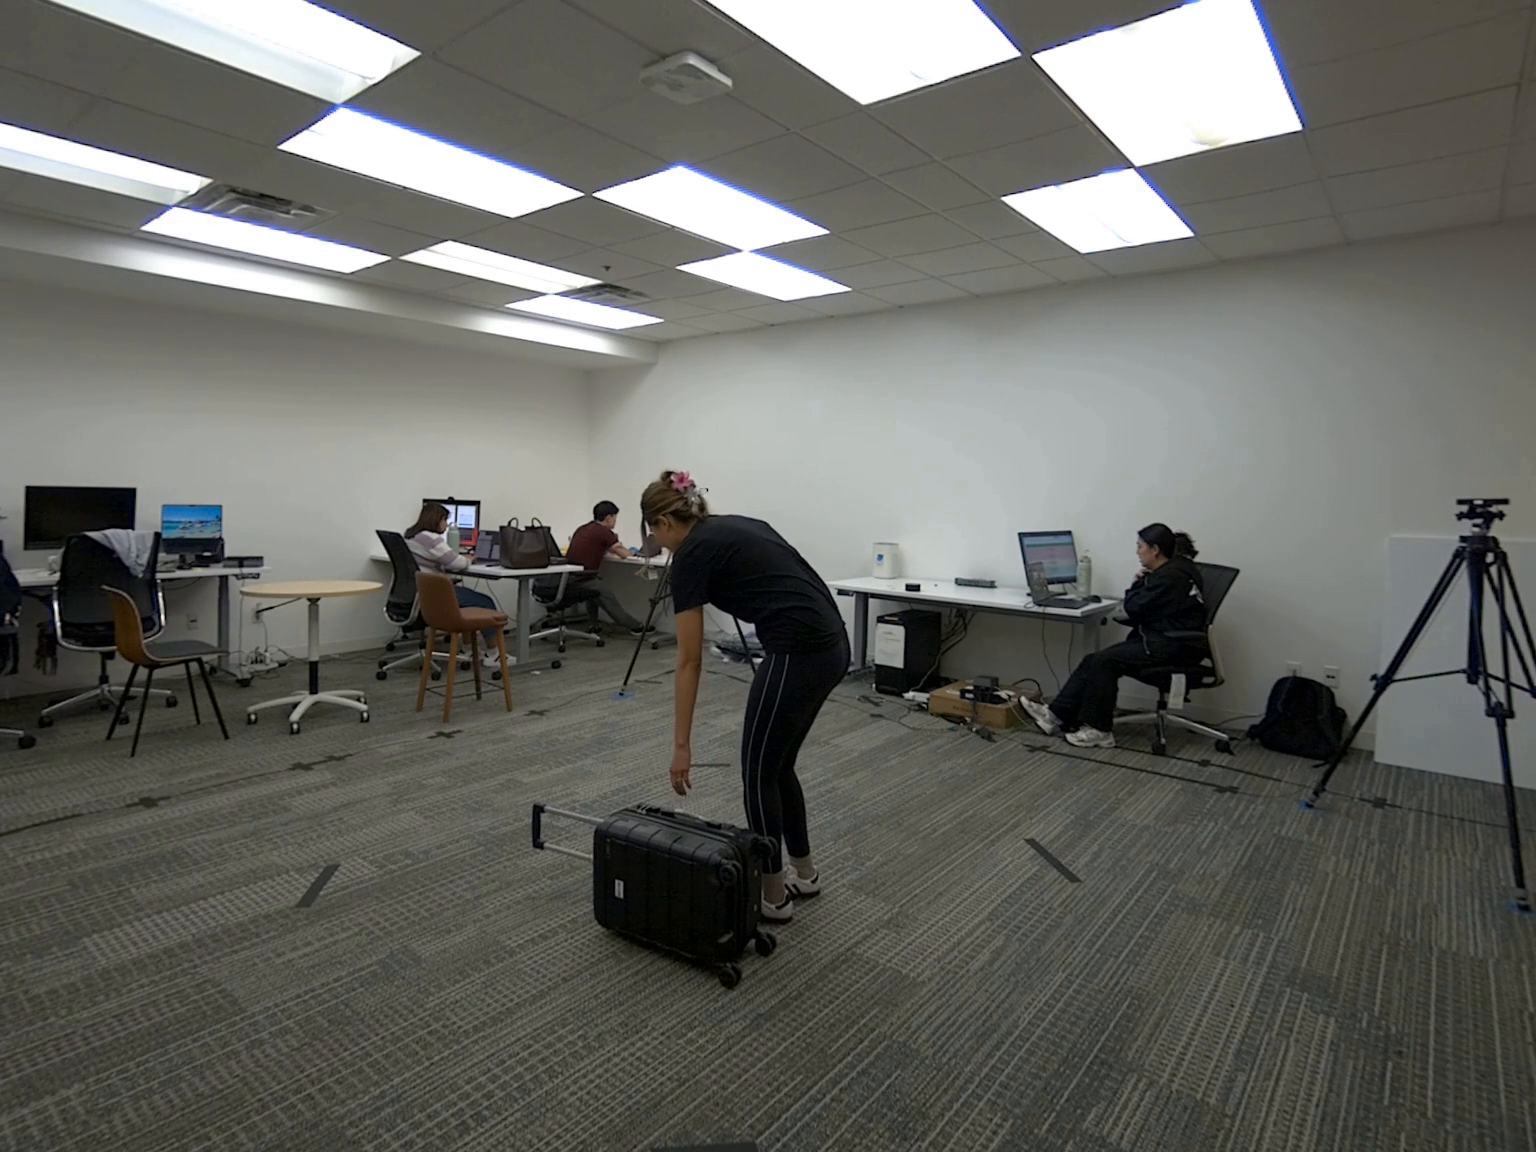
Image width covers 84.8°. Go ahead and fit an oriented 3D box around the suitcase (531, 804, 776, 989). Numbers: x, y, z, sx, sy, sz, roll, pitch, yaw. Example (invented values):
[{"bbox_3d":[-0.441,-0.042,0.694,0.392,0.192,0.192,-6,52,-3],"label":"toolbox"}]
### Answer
[{"bbox_3d":[-0.463,0.918,2.701,1.008,0.383,0.250,4,5,31],"label":"suitcase"}]
